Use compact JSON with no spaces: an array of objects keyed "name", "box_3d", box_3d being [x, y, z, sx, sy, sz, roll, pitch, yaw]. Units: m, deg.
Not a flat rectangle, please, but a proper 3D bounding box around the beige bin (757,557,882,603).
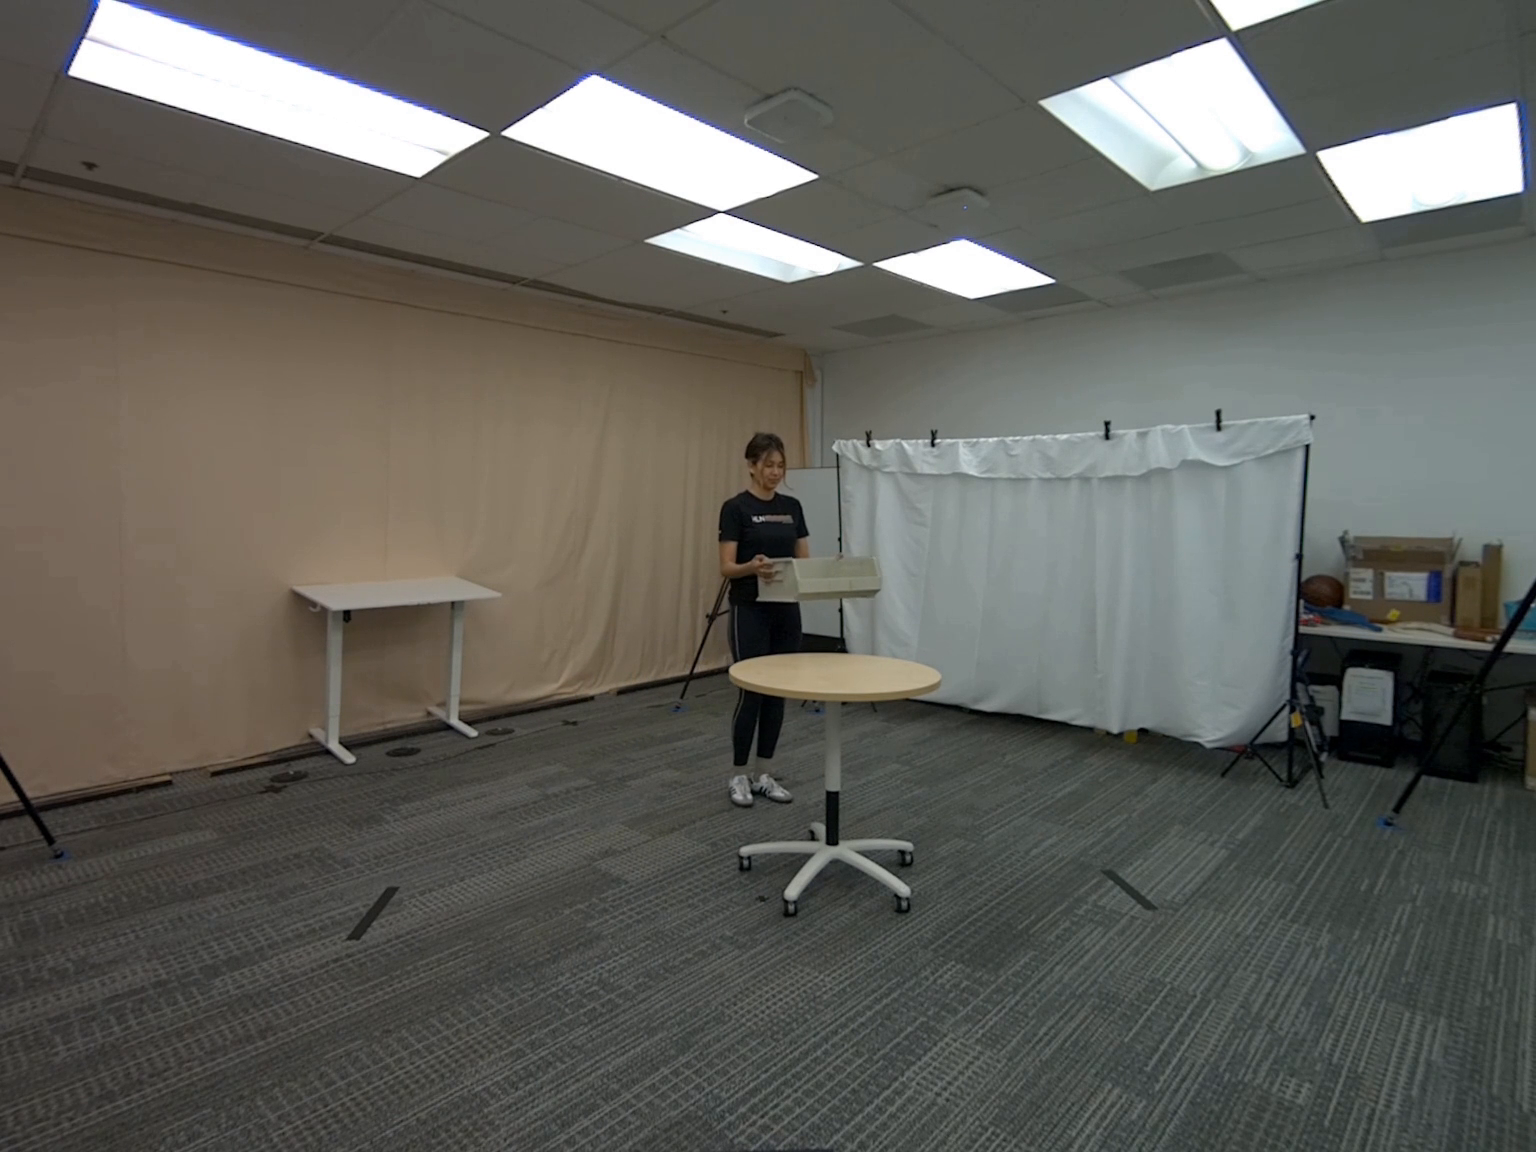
[{"name":"beige bin","box_3d":[0.214,0.015,3.608,0.412,0.189,0.386,-2,-1,-27]}]
